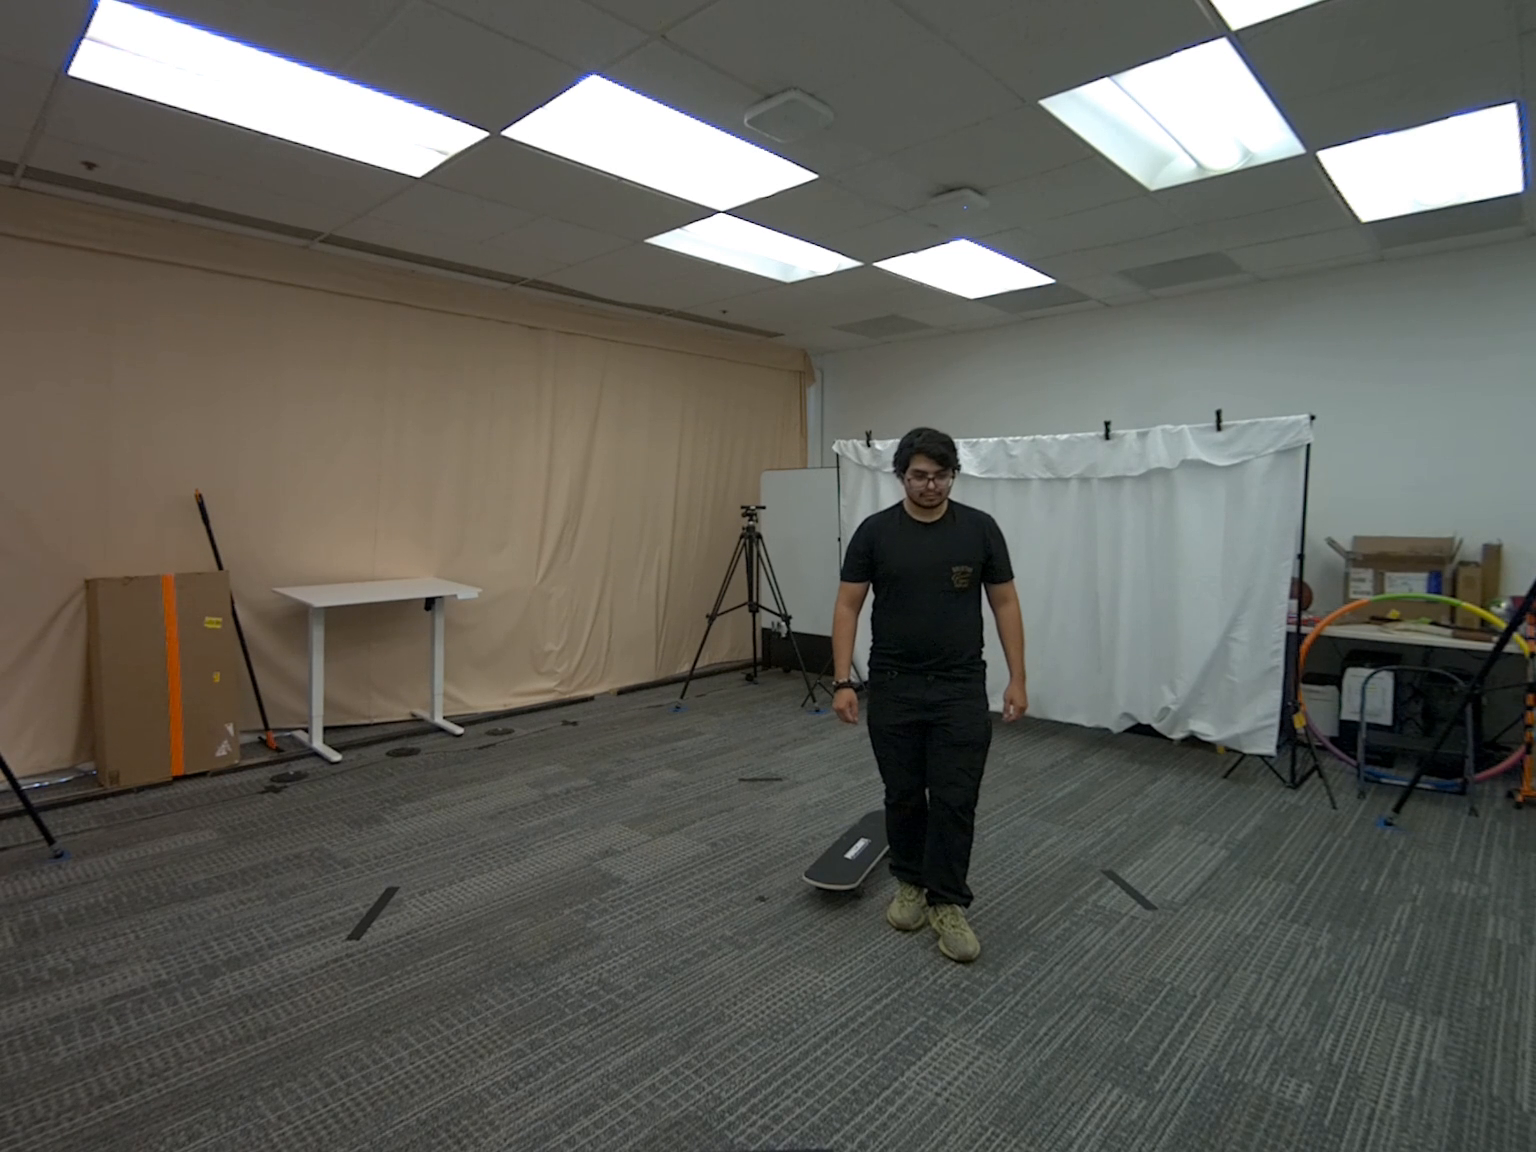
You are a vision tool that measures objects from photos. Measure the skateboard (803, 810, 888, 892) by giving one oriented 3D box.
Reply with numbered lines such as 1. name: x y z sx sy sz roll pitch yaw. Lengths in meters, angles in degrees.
1. skateboard: 0.346 1.067 3.201 0.199 0.110 0.766 3 6 26
